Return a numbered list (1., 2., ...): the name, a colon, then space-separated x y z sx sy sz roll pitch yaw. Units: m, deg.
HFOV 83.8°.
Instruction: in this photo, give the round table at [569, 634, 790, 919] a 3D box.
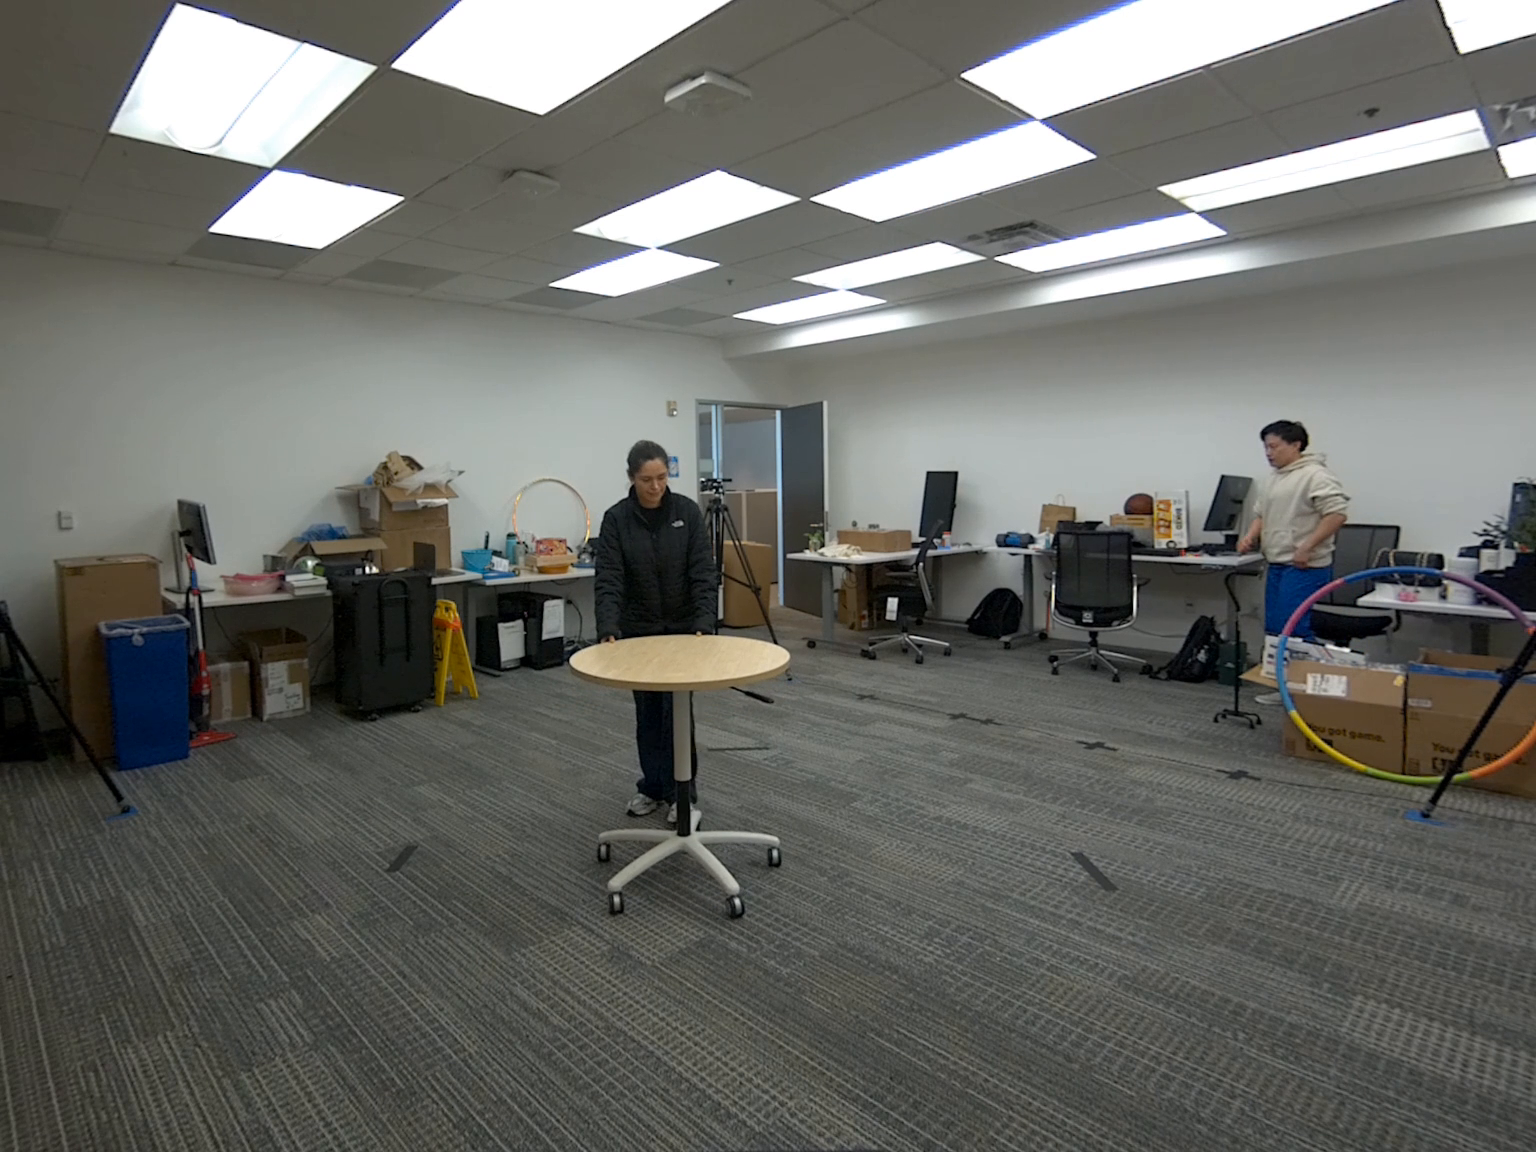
1. round table: -0.296 0.665 3.028 0.784 0.783 0.790 -1 6 -2
